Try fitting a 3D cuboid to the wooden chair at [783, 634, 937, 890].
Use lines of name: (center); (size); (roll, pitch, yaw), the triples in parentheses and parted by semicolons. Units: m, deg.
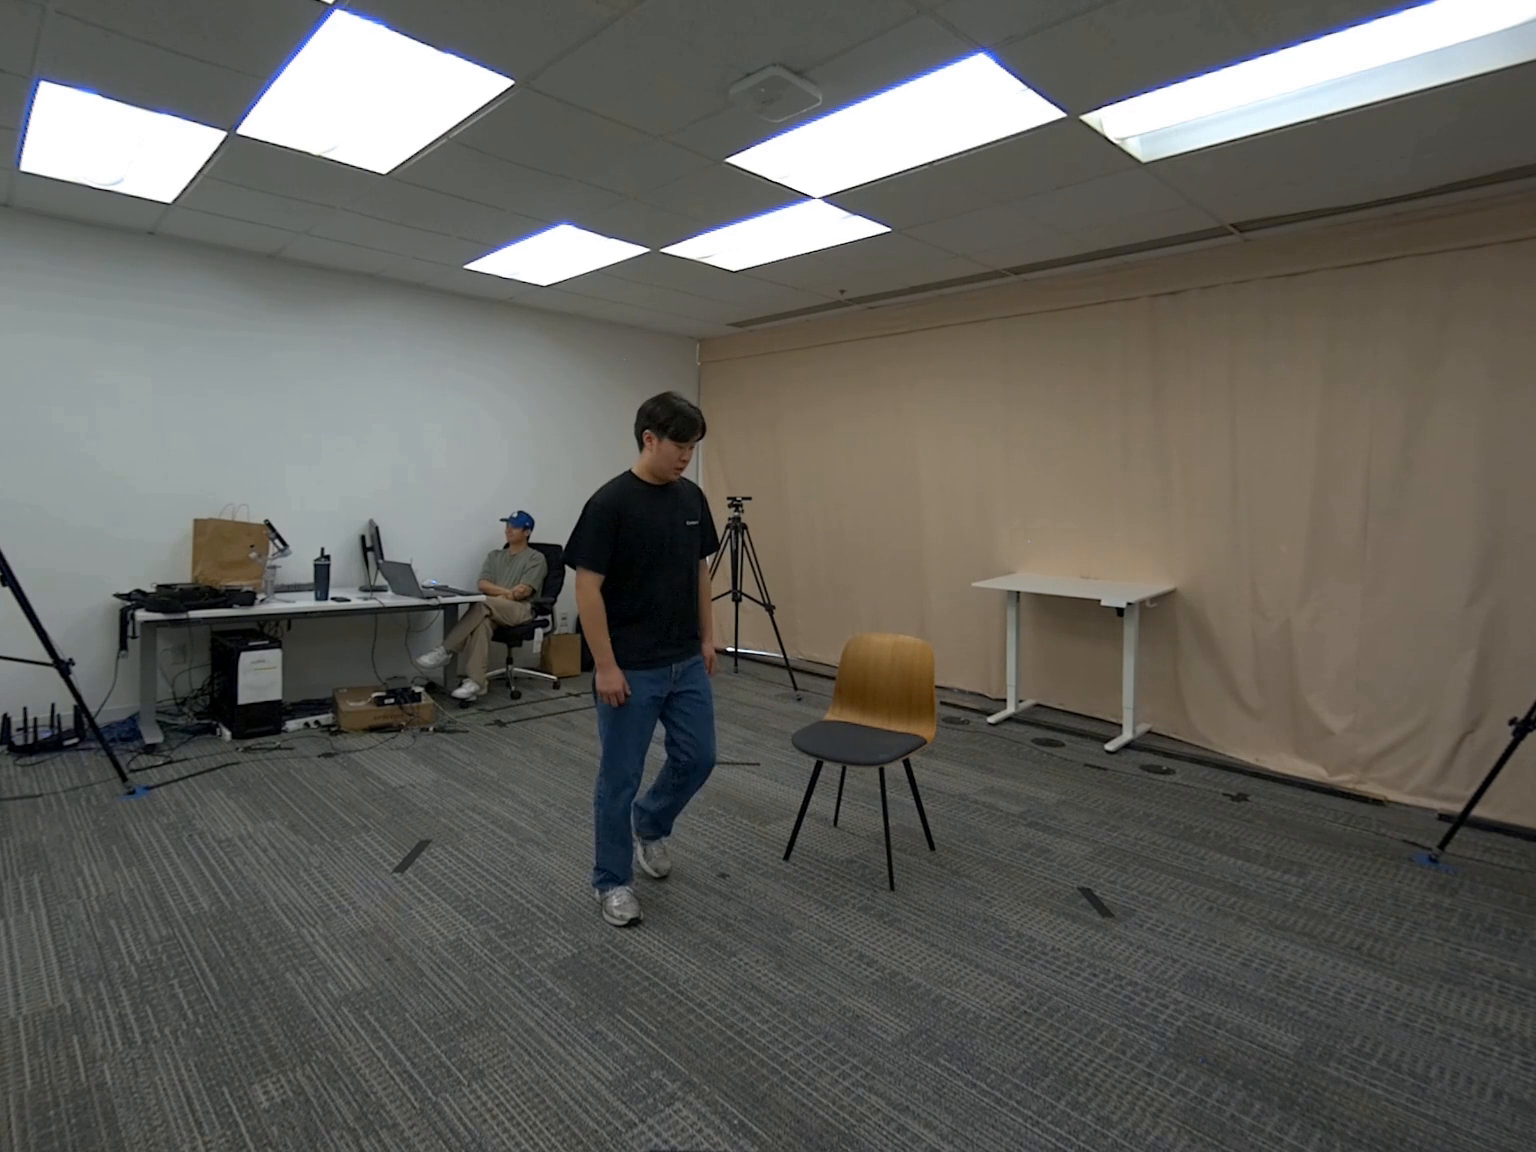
wooden chair: (0.366, 0.677, 3.281); (0.489, 0.878, 0.511); (4, 0, 32)
